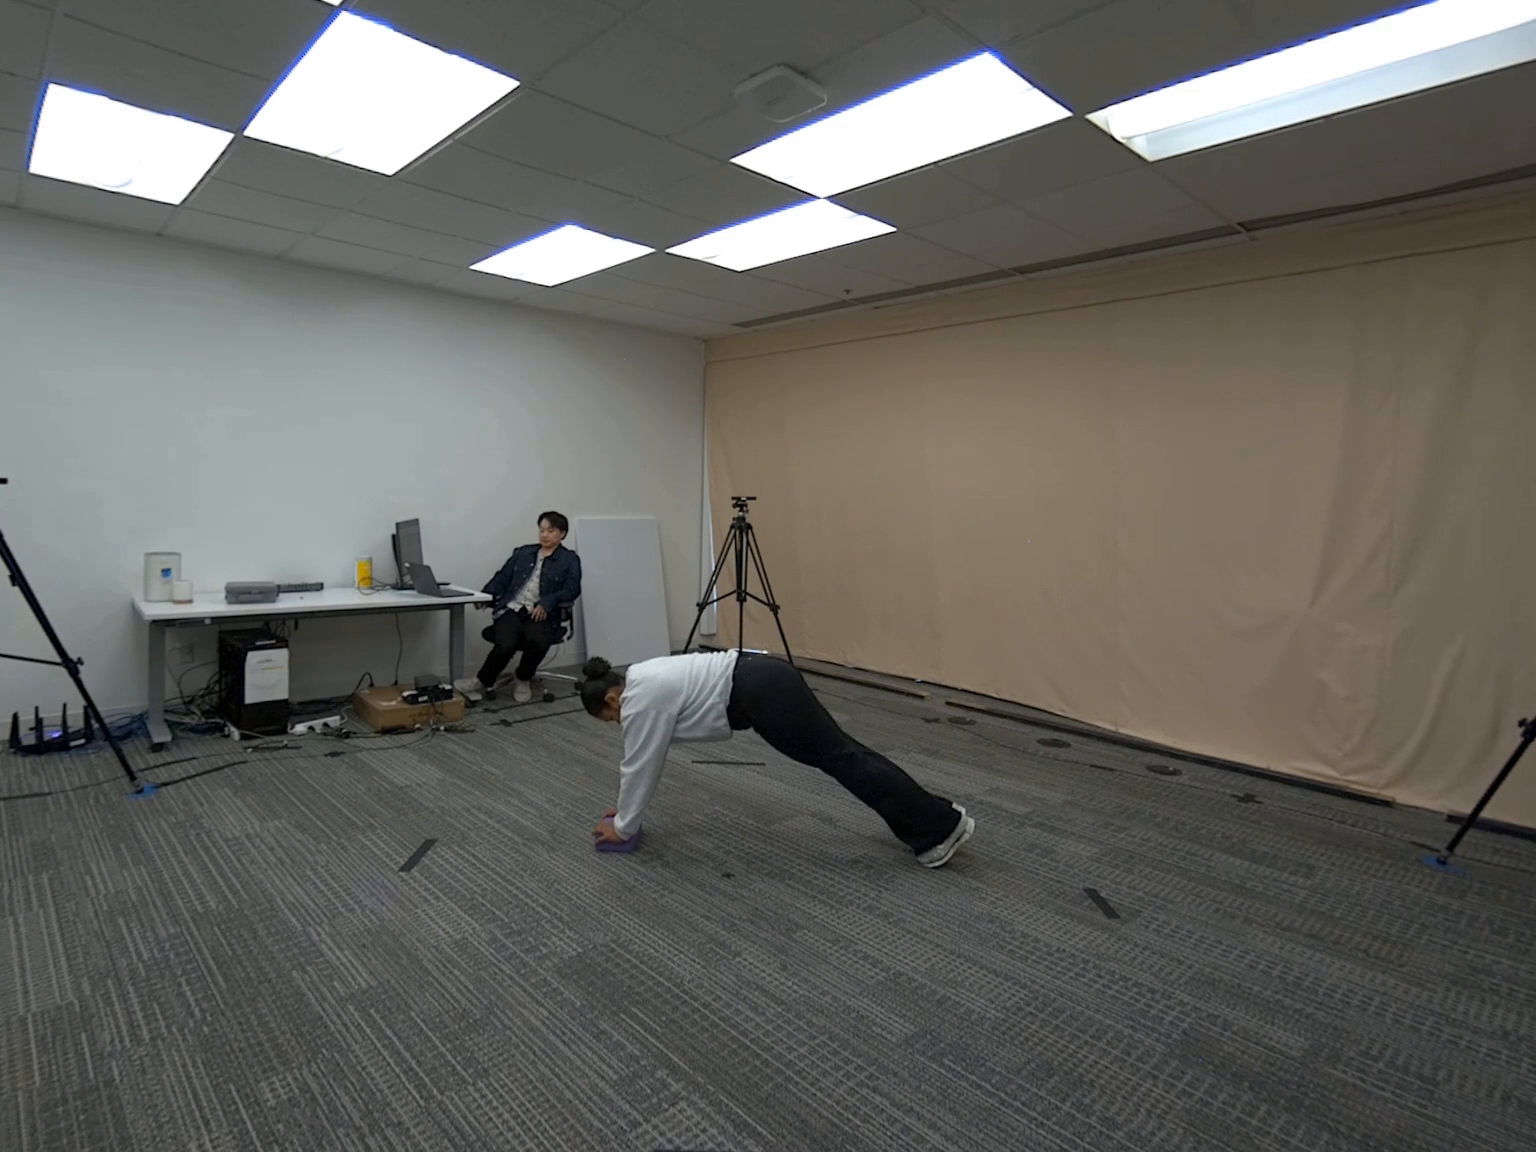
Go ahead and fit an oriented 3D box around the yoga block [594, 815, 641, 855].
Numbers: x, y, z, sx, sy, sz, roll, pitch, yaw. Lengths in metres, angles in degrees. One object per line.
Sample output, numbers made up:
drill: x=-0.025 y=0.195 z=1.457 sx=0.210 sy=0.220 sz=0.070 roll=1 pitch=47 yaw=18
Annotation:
yoga block: x=-0.603 y=1.022 z=3.402 sx=0.149 sy=0.076 sz=0.229 roll=-1 pitch=6 yaw=3
